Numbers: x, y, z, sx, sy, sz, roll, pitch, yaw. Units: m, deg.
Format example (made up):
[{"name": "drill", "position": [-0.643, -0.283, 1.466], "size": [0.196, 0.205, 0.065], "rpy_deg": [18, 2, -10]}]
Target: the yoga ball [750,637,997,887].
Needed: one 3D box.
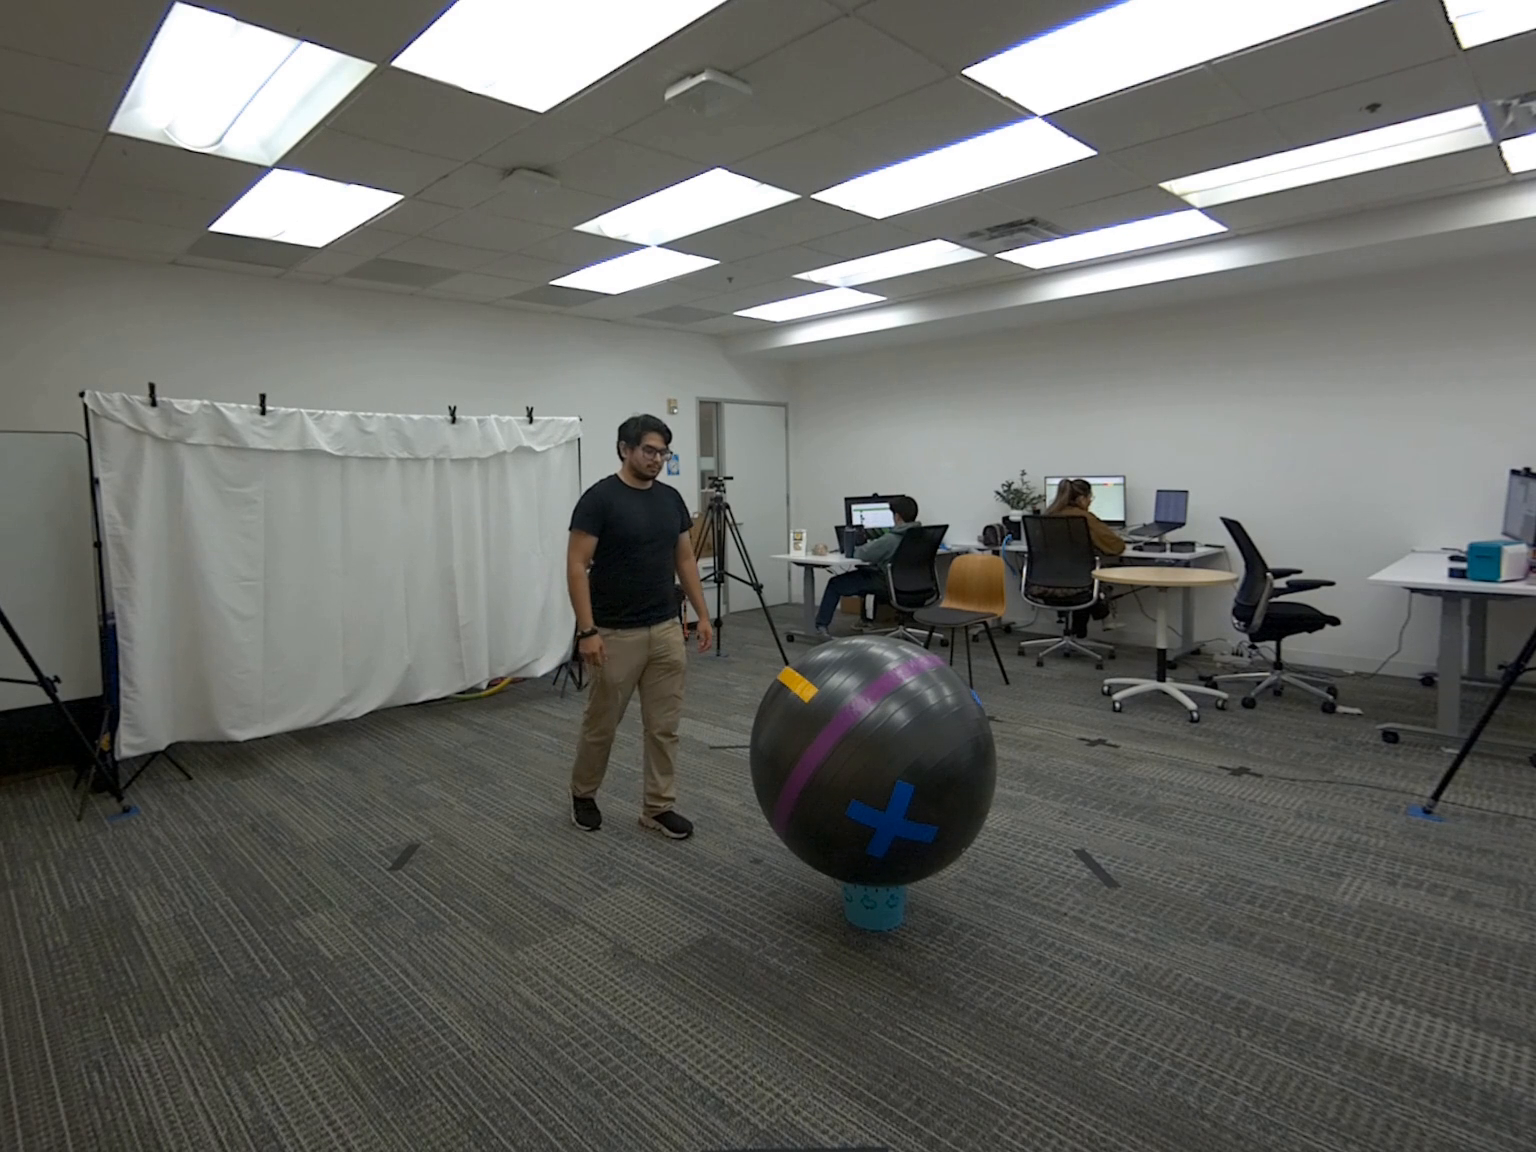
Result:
[{"name": "yoga ball", "position": [0.322, 0.571, 2.676], "size": [0.757, 0.755, 0.762], "rpy_deg": [-1, 5, -2]}]
